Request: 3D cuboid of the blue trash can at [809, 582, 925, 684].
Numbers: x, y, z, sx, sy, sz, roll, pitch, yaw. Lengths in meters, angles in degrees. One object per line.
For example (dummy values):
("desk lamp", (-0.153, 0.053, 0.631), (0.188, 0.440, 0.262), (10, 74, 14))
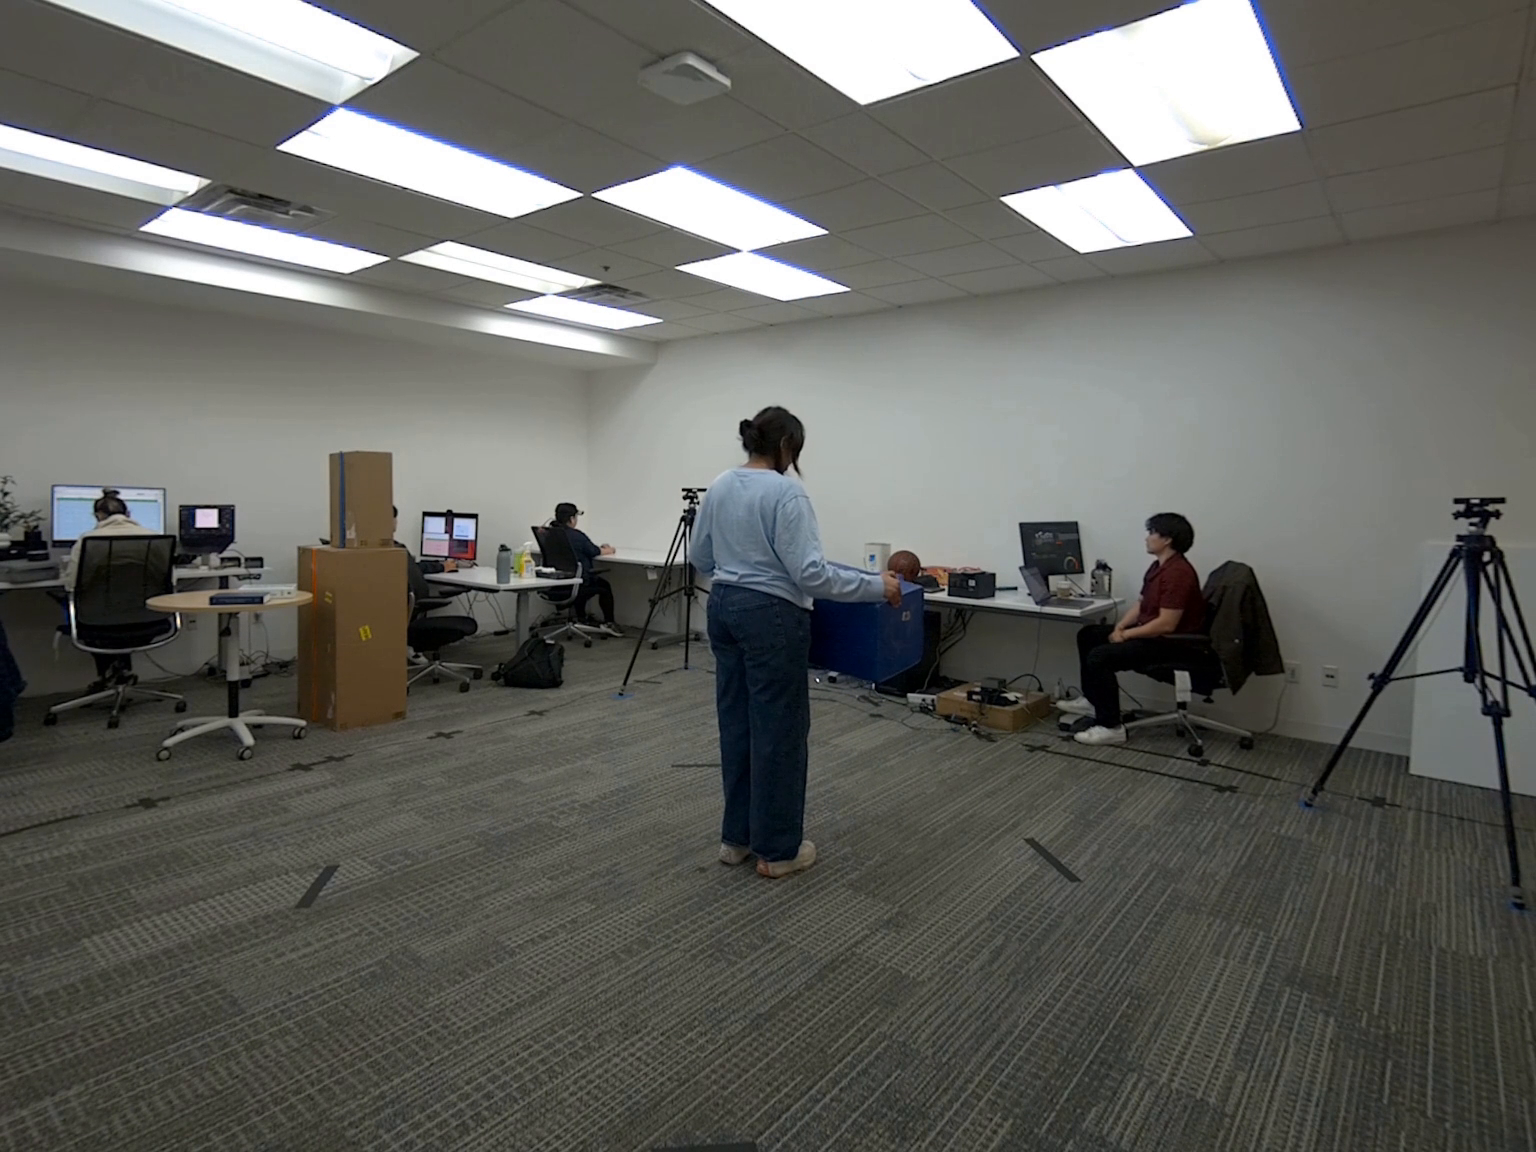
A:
("blue trash can", (0.225, 0.143, 3.353), (0.740, 0.369, 0.369), (13, 20, 41))
